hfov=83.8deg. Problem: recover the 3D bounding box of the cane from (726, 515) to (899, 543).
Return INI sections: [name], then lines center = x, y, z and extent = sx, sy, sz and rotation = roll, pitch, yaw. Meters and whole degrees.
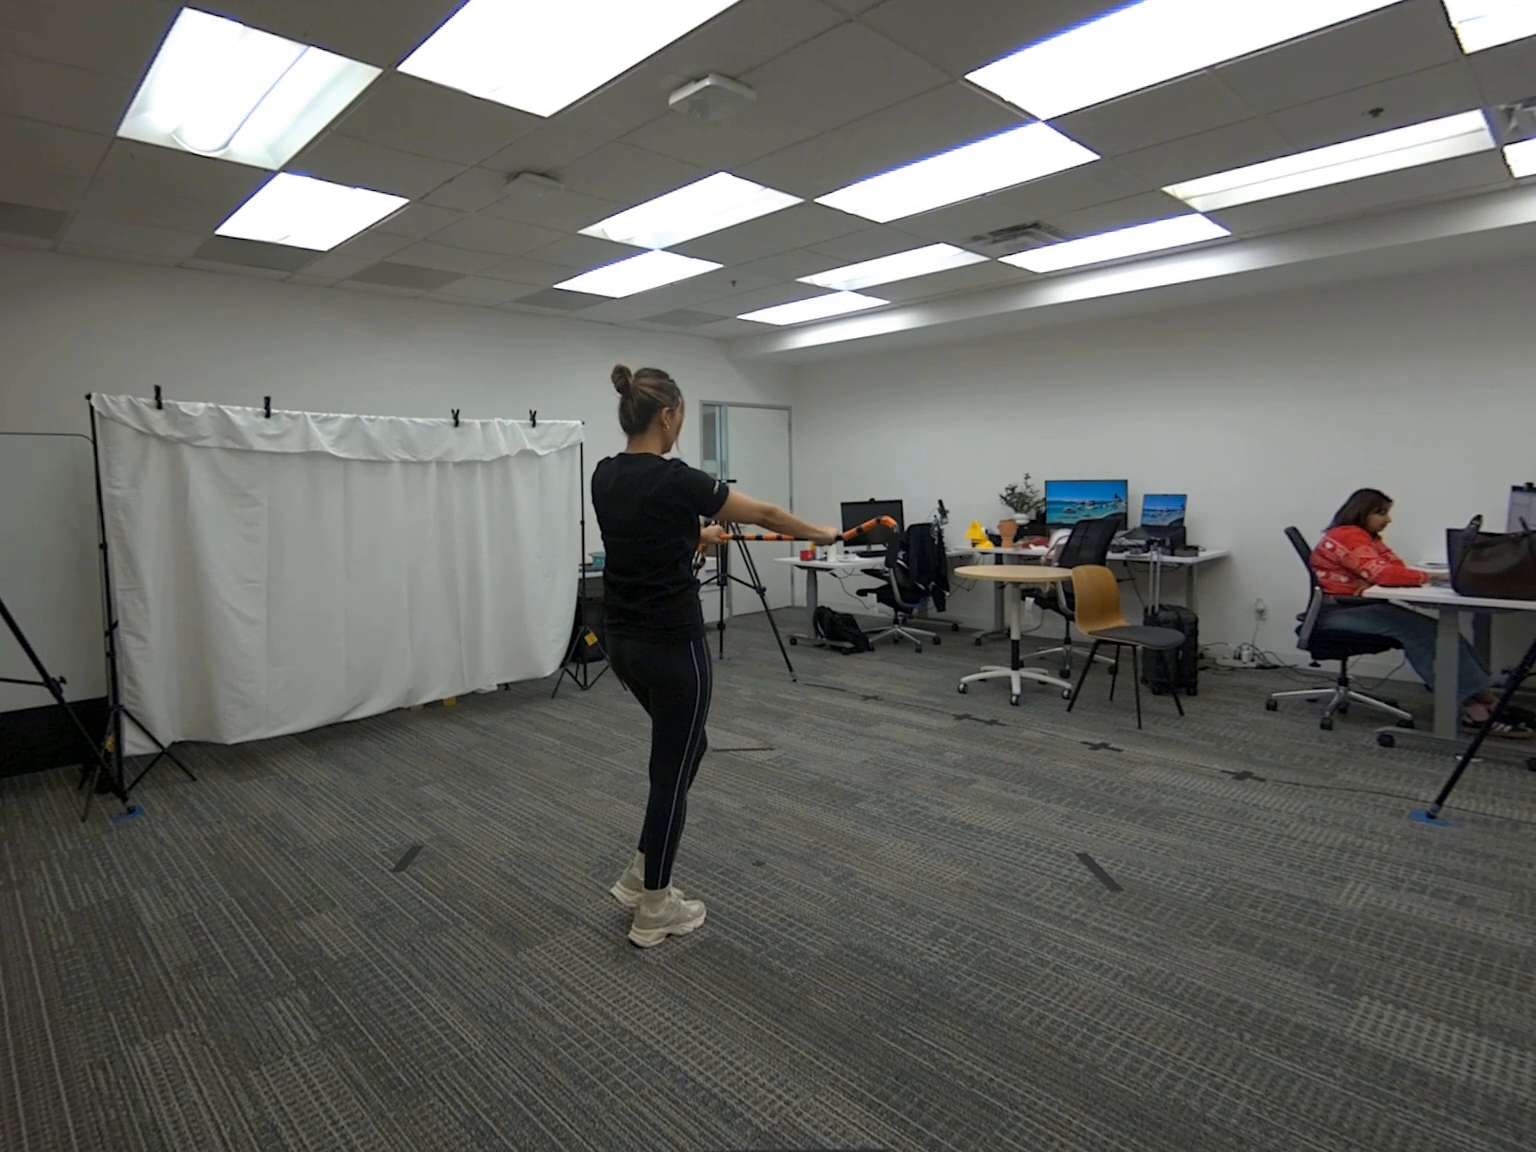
[cane]
center = 0.063, -0.129, 2.930
extent = 0.935, 0.208, 0.146
rotation = 3, -19, 42
